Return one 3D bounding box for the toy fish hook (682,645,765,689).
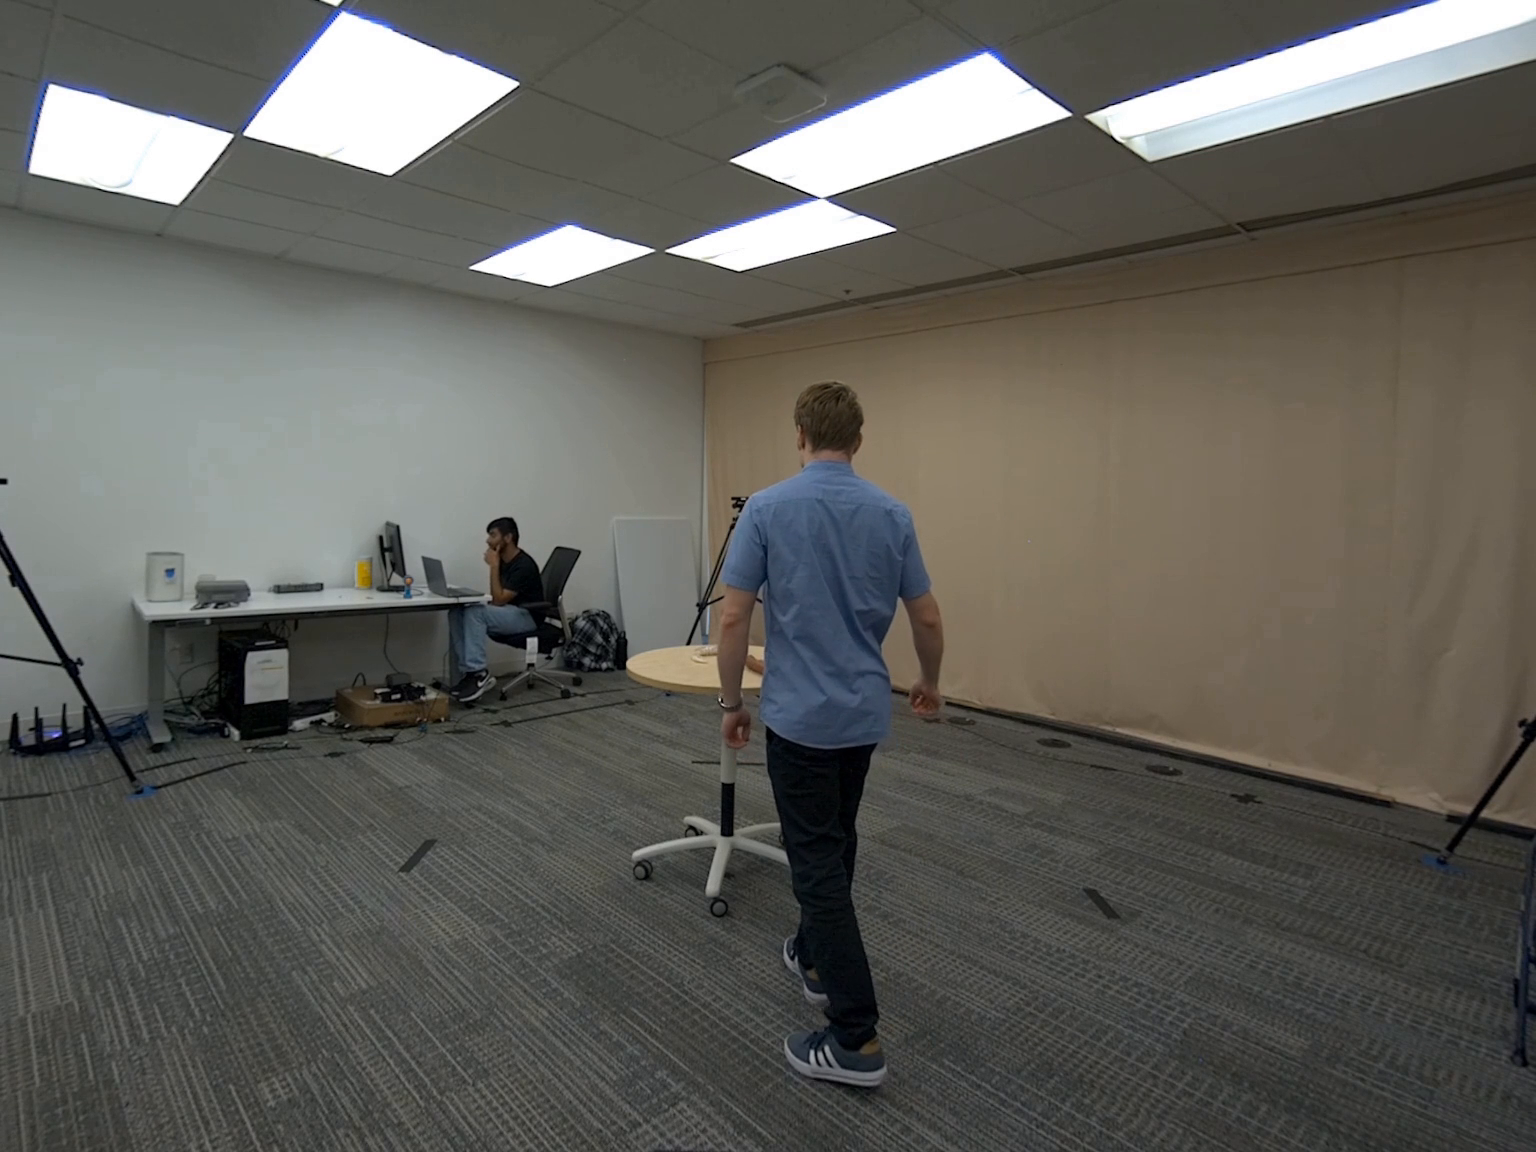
[{"bbox_3d":[-0.129,0.318,3.061,0.221,0.048,0.516,-8,8,-22],"label":"toy fish hook"}]
